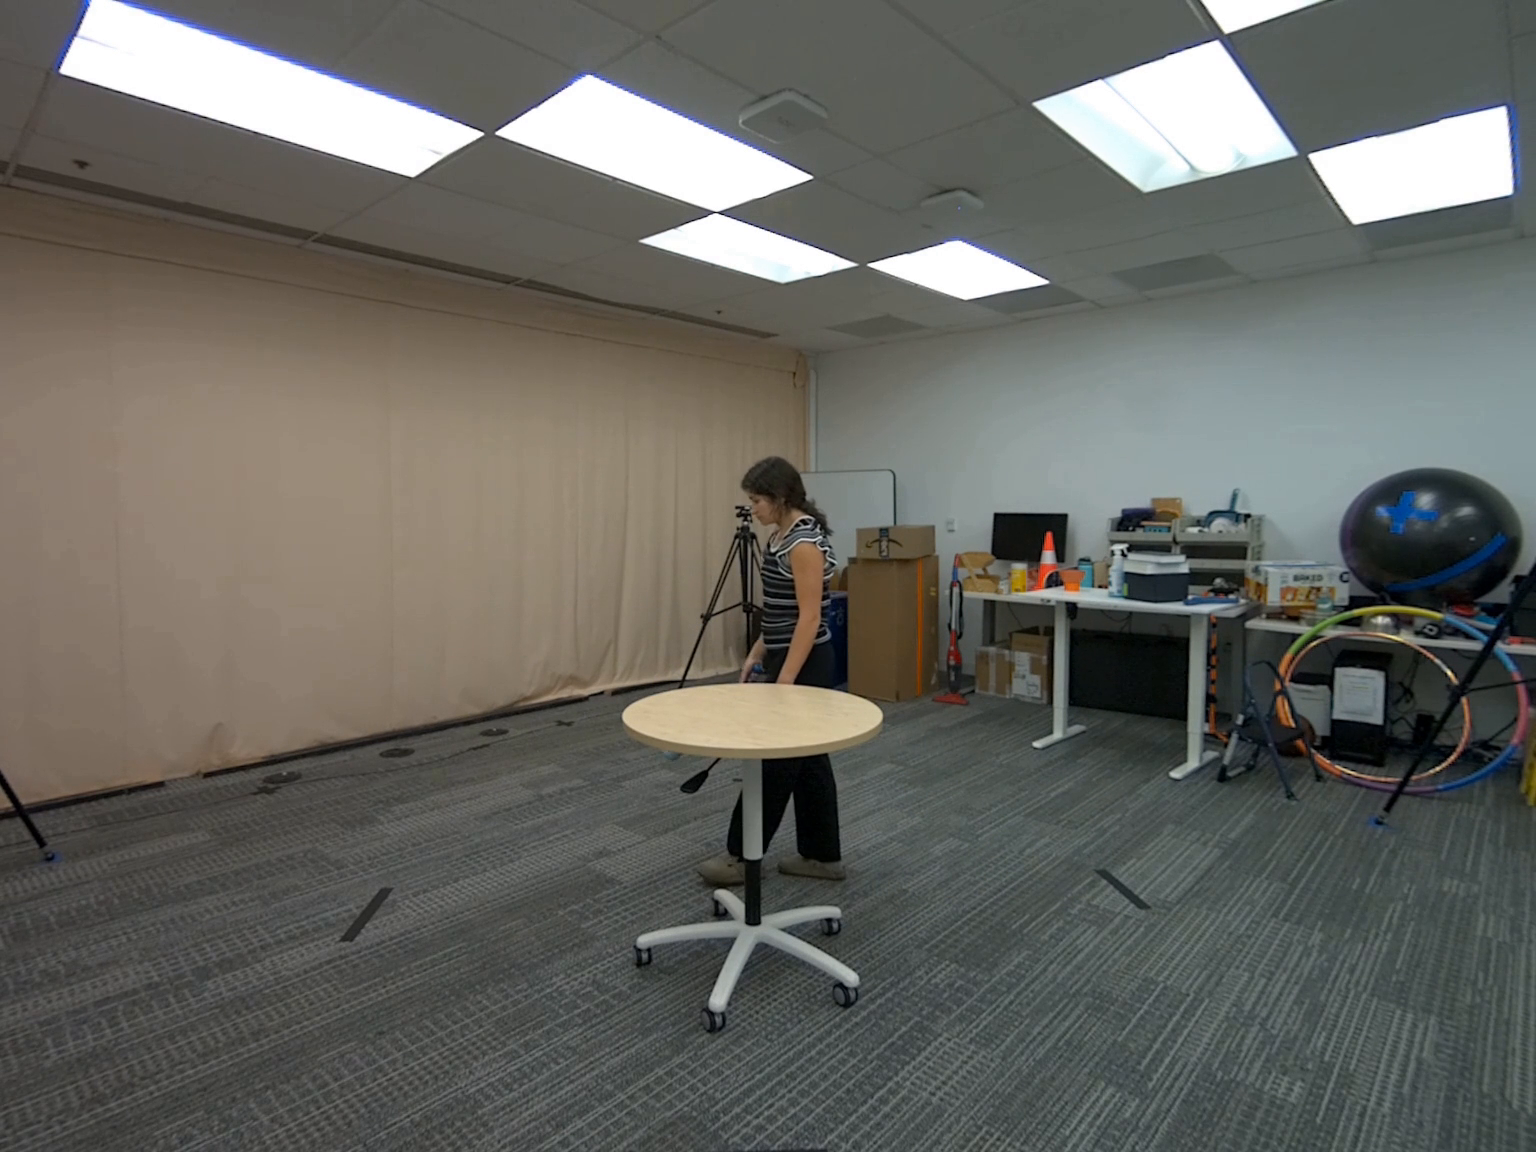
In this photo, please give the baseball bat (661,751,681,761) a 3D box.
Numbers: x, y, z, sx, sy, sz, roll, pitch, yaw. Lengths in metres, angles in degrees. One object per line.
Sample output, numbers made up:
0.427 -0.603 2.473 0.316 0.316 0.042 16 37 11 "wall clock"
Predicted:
-0.219 0.546 3.354 0.545 0.090 0.088 -44 -7 13 "baseball bat"
